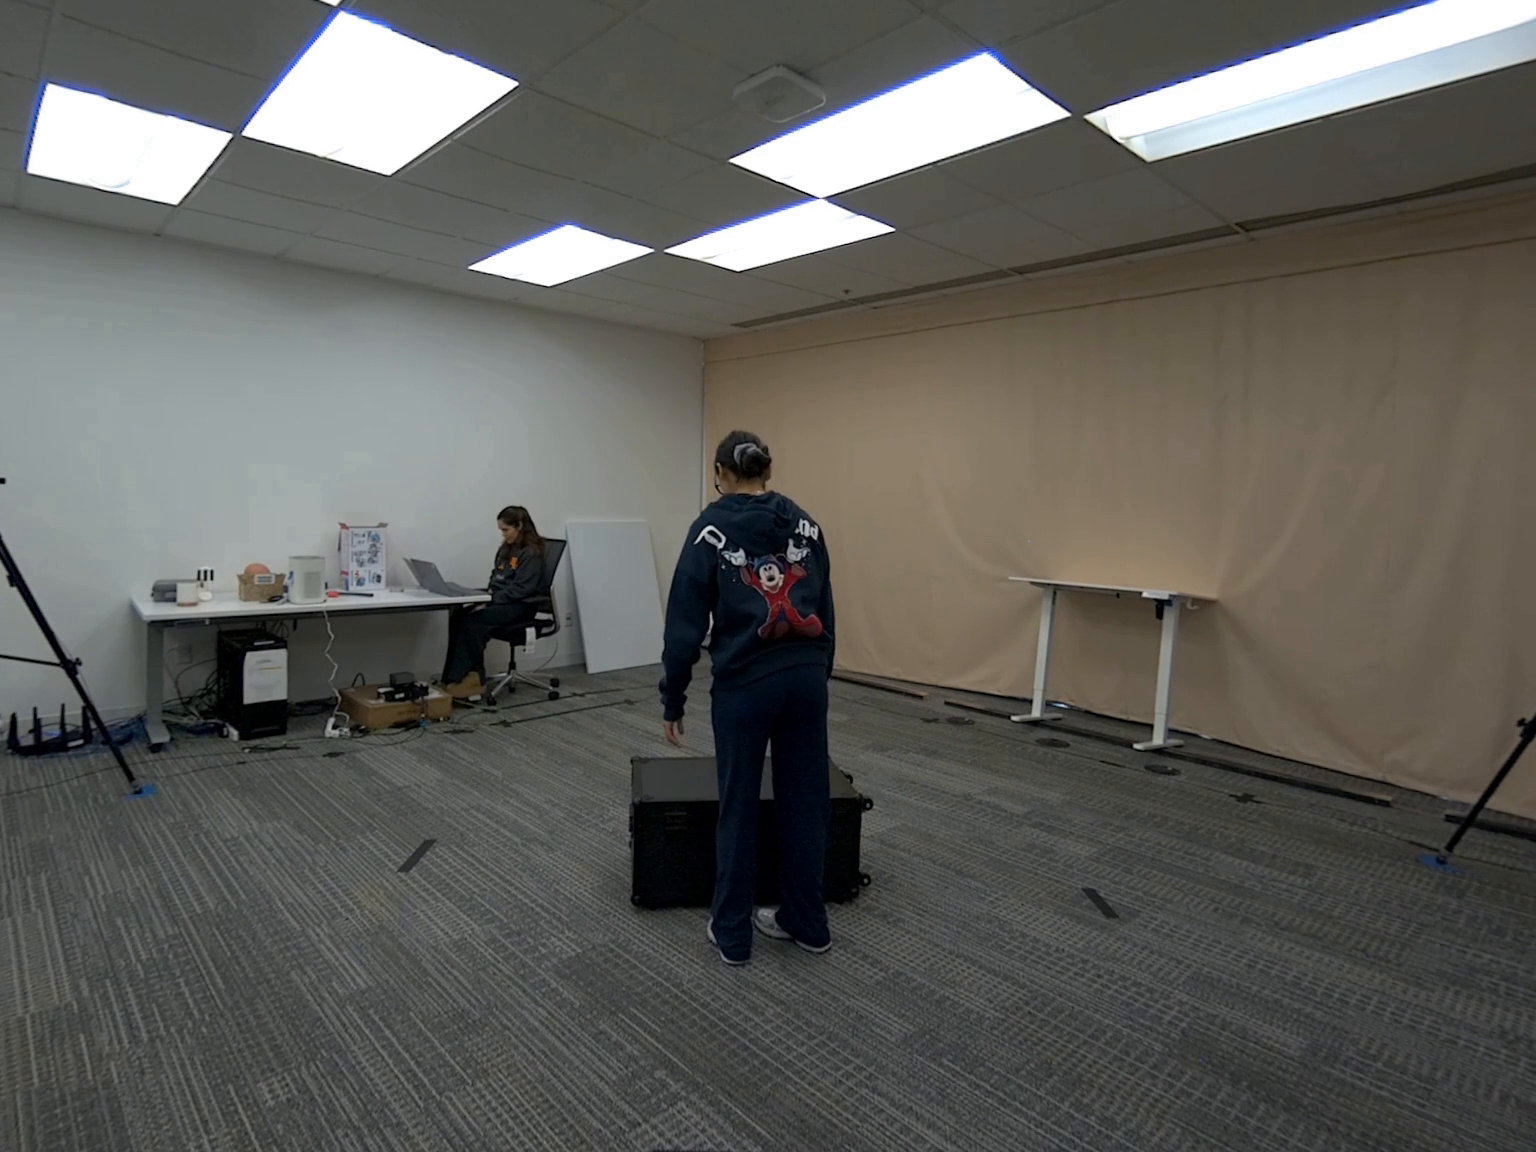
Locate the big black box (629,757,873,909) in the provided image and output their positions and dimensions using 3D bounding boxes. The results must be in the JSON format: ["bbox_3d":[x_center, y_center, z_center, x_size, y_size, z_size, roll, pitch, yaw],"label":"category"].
[{"bbox_3d":[-0.077,0.919,3.088,0.855,0.395,0.526,0,4,-9],"label":"big black box"}]
